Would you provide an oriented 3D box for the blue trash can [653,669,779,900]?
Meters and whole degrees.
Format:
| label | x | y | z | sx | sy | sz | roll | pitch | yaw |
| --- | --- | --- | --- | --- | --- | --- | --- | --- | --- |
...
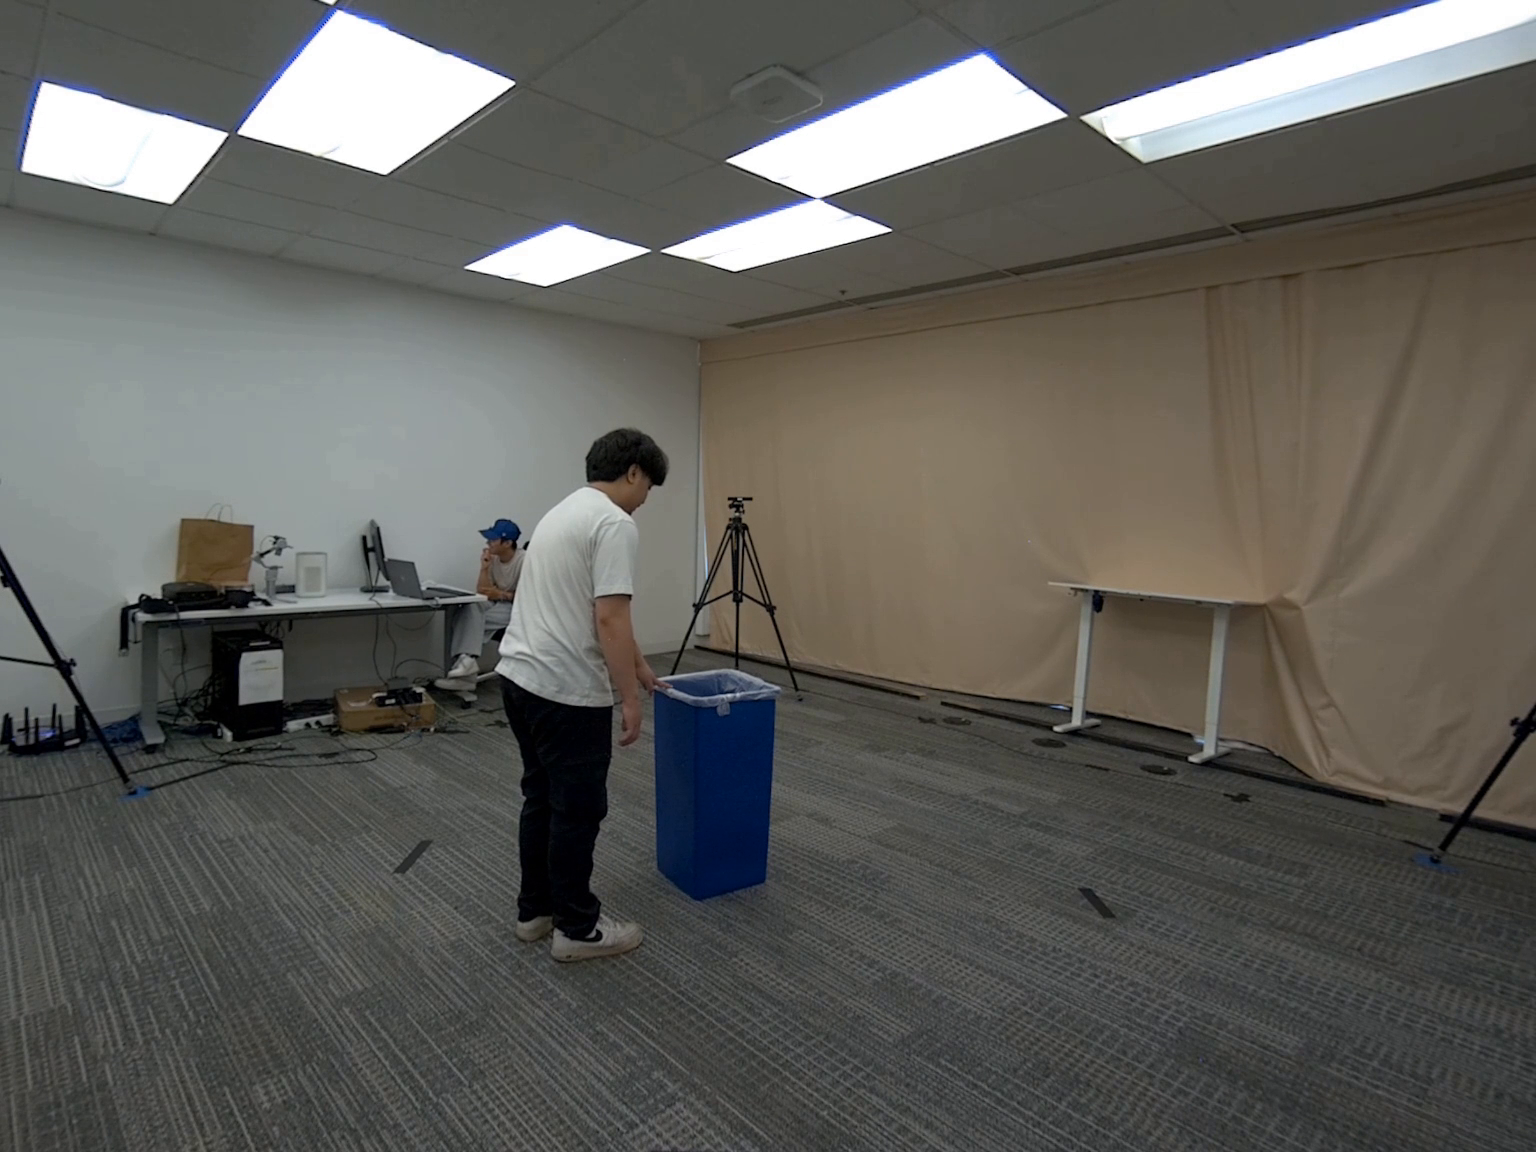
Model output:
| label | x | y | z | sx | sy | sz | roll | pitch | yaw |
| --- | --- | --- | --- | --- | --- | --- | --- | --- | --- |
| blue trash can | -0.215 | 0.748 | 3.096 | 0.370 | 0.712 | 0.383 | -1 | 4 | -34 |
